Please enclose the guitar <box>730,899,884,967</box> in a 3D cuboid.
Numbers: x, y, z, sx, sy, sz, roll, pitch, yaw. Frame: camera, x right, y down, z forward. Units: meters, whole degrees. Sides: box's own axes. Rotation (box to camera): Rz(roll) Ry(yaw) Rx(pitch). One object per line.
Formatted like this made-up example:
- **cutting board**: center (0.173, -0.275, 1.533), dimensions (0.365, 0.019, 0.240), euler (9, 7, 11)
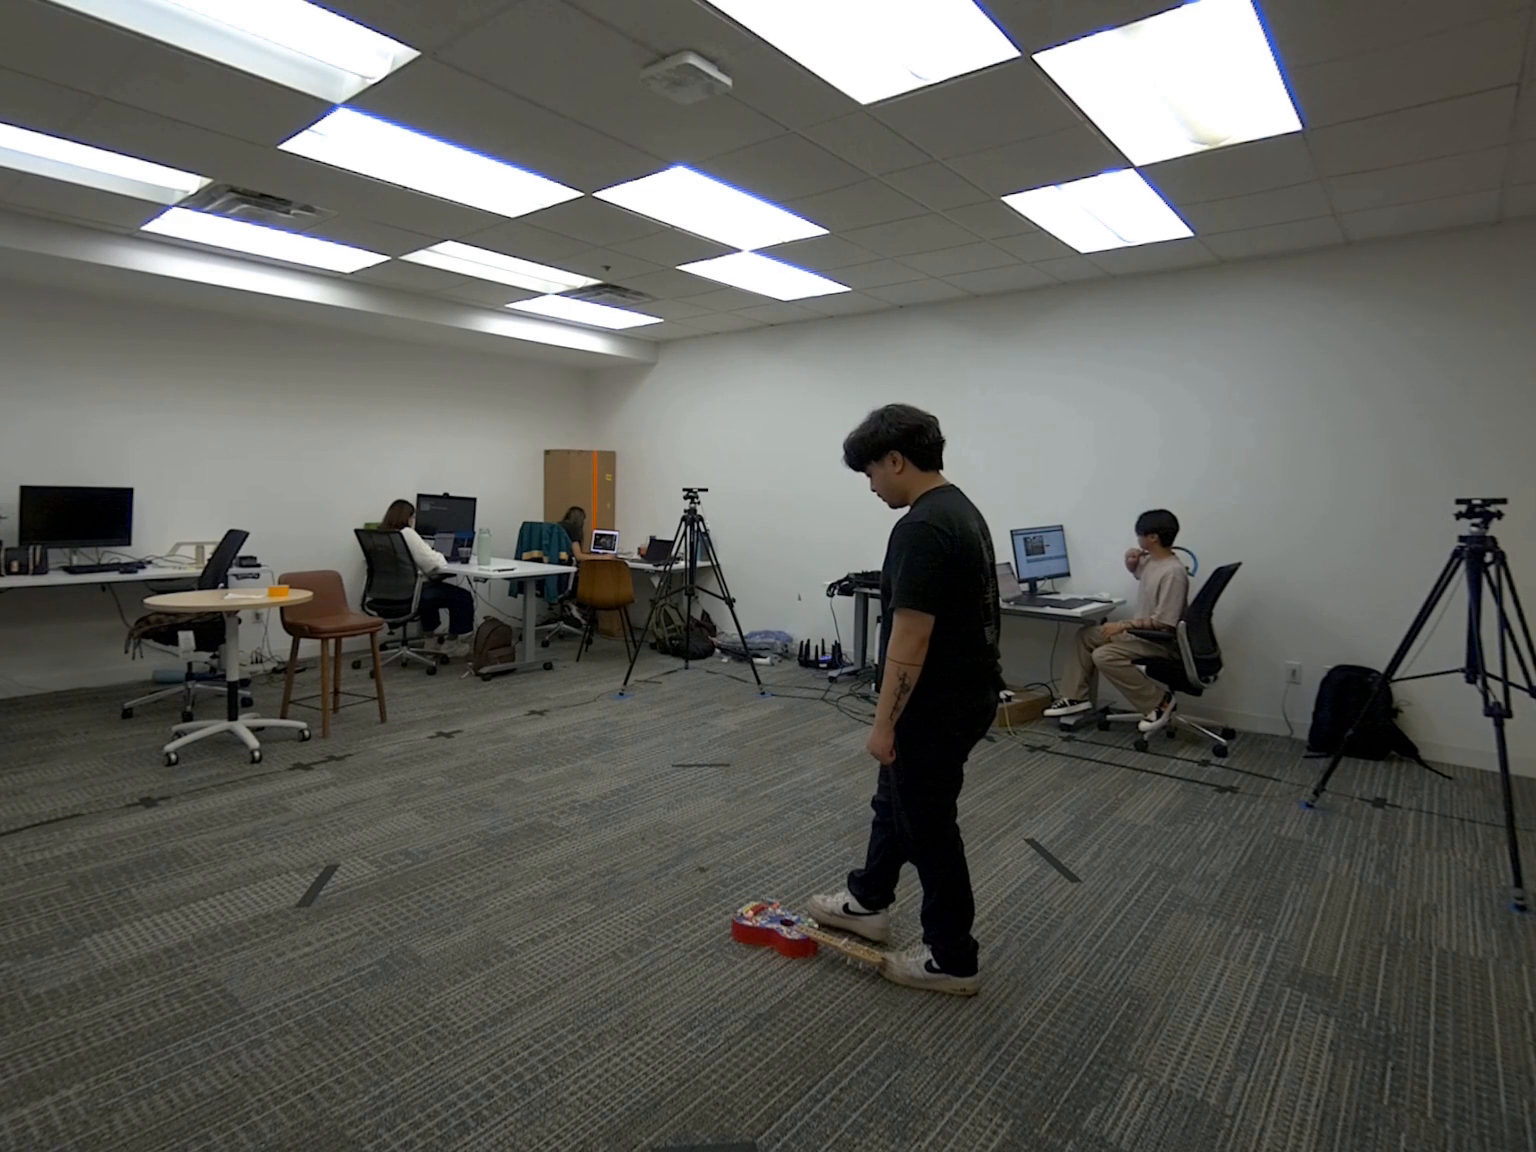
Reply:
- **guitar**: center (0.099, 1.097, 2.553), dimensions (0.515, 0.070, 0.187), euler (7, 7, 45)
